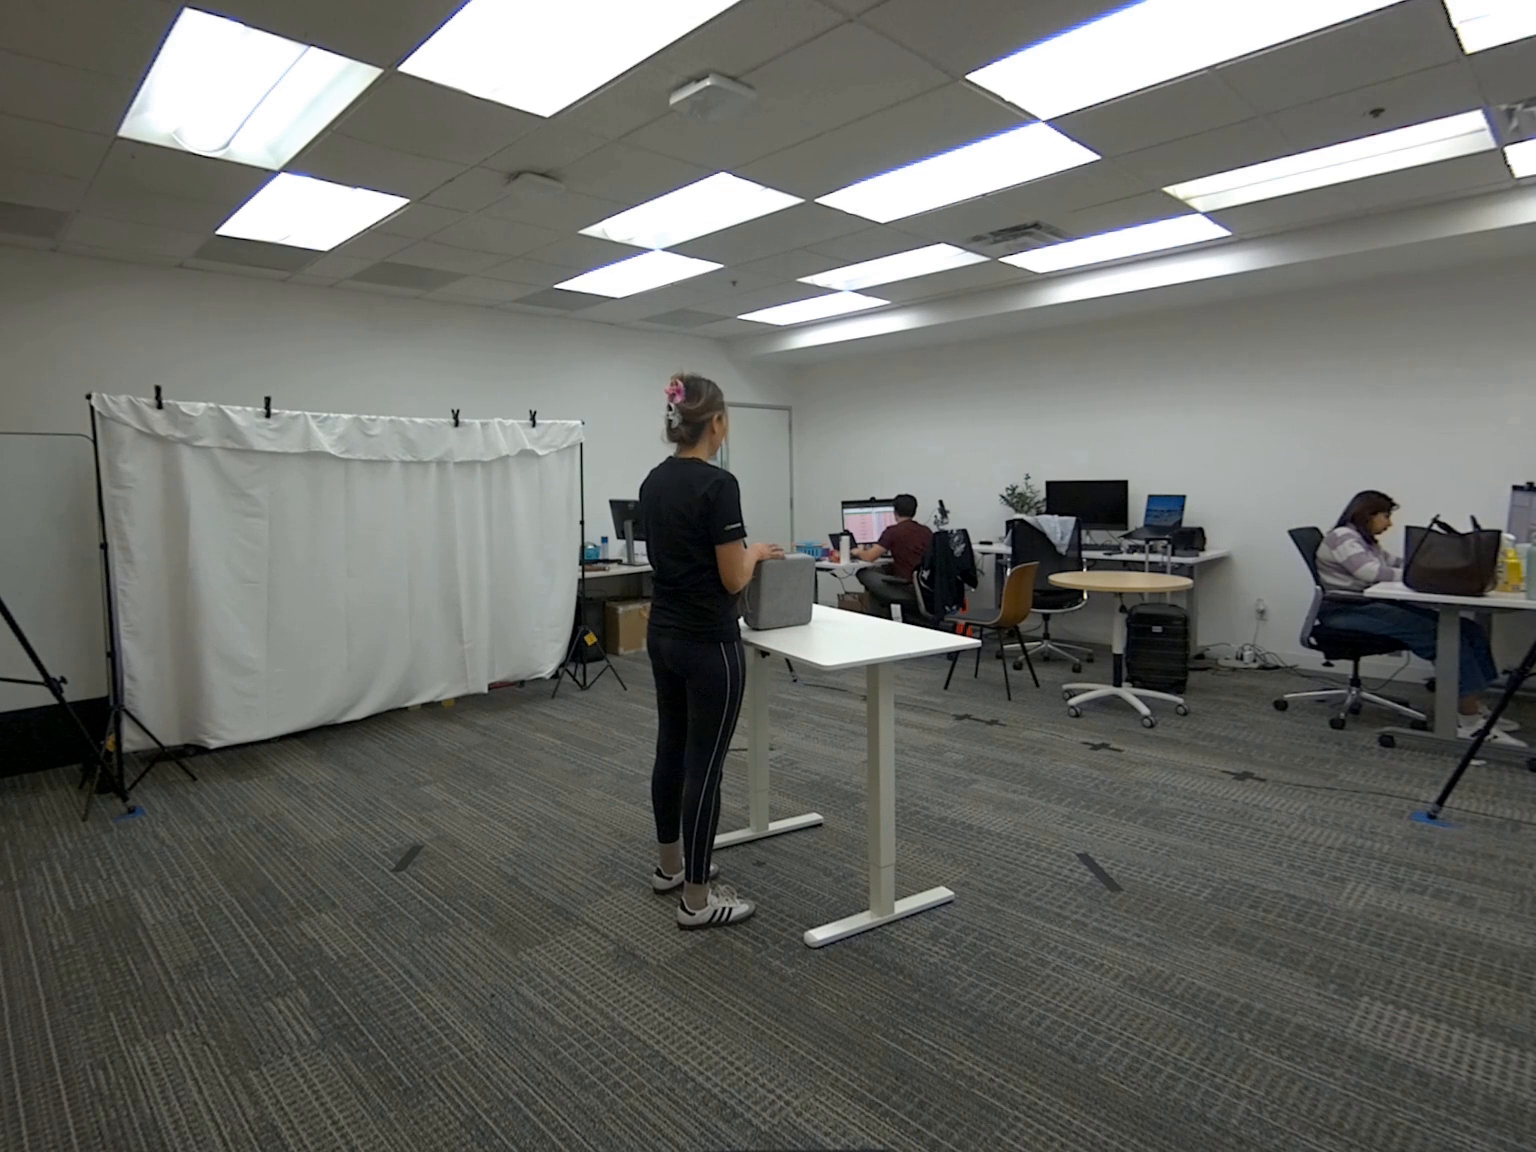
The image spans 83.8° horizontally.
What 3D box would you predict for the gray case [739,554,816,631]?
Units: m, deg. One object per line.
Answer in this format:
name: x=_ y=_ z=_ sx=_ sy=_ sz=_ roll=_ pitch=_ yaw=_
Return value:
gray case: x=0.051 y=0.047 z=2.972 sx=0.254 sy=0.255 sz=0.108 roll=-5 pitch=11 yaw=-36
